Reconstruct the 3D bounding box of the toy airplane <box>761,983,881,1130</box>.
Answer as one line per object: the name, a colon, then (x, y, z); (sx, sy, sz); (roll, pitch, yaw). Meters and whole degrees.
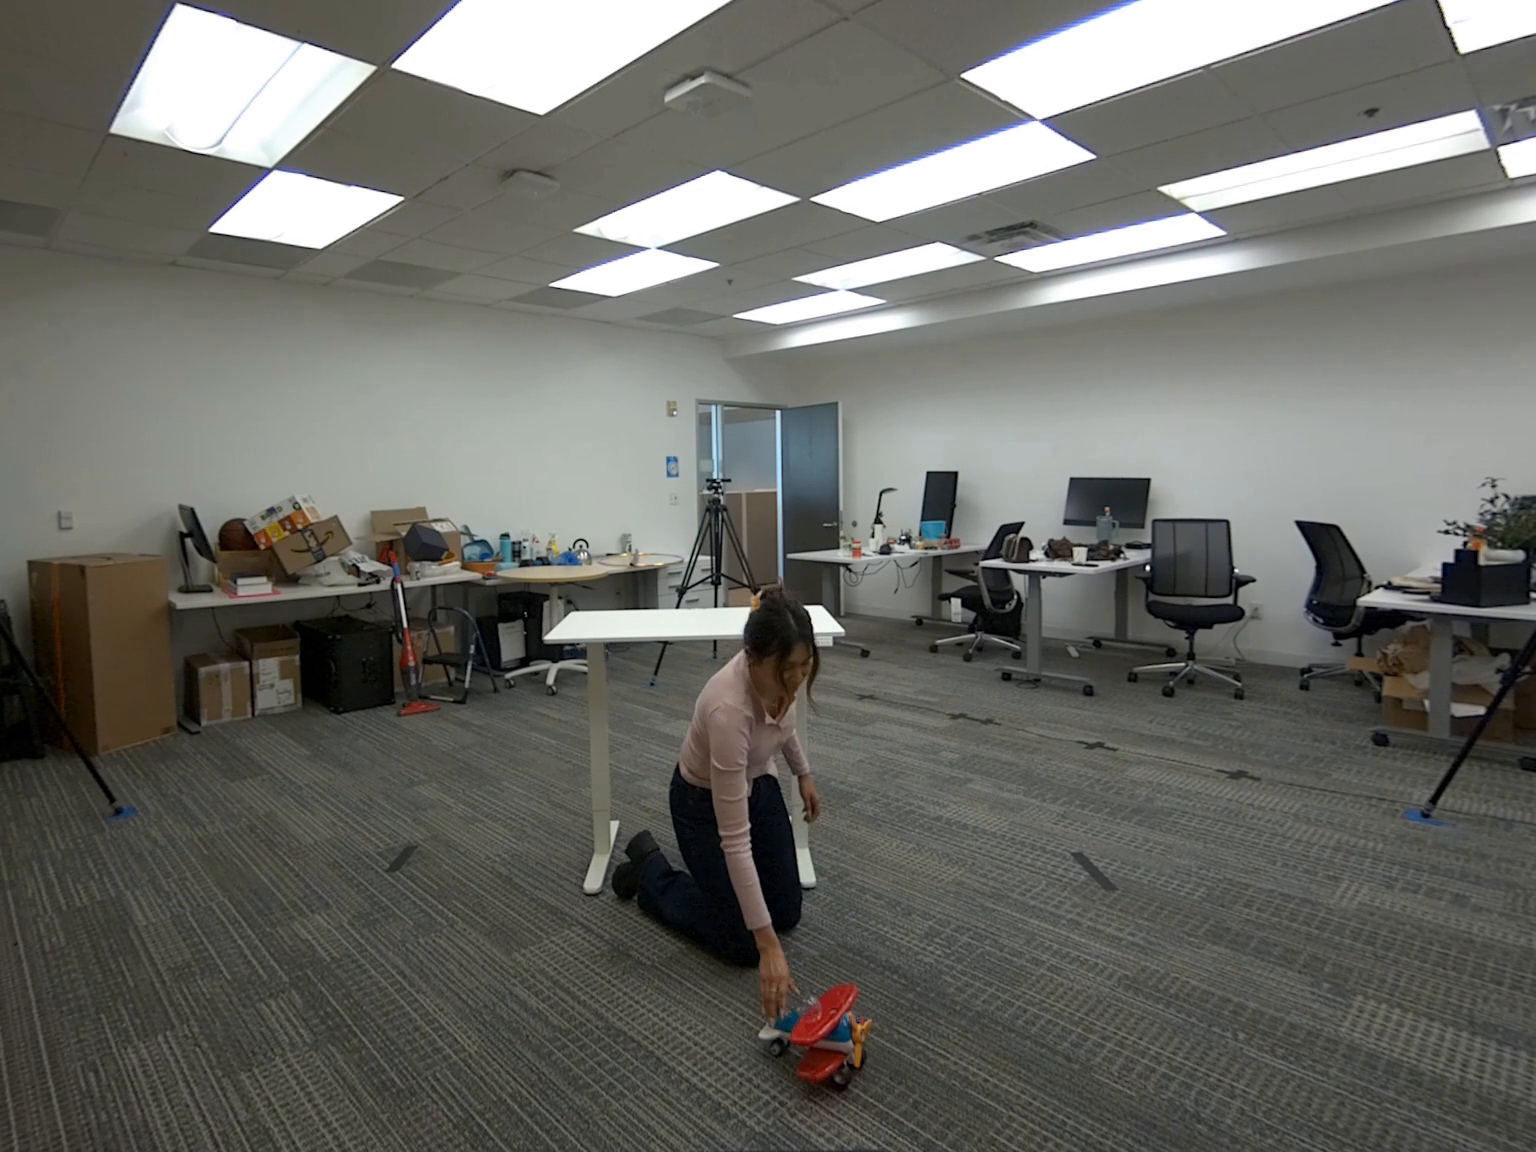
toy airplane: (0.125, 1.108, 2.003); (0.261, 0.155, 0.251); (1, 7, 7)
